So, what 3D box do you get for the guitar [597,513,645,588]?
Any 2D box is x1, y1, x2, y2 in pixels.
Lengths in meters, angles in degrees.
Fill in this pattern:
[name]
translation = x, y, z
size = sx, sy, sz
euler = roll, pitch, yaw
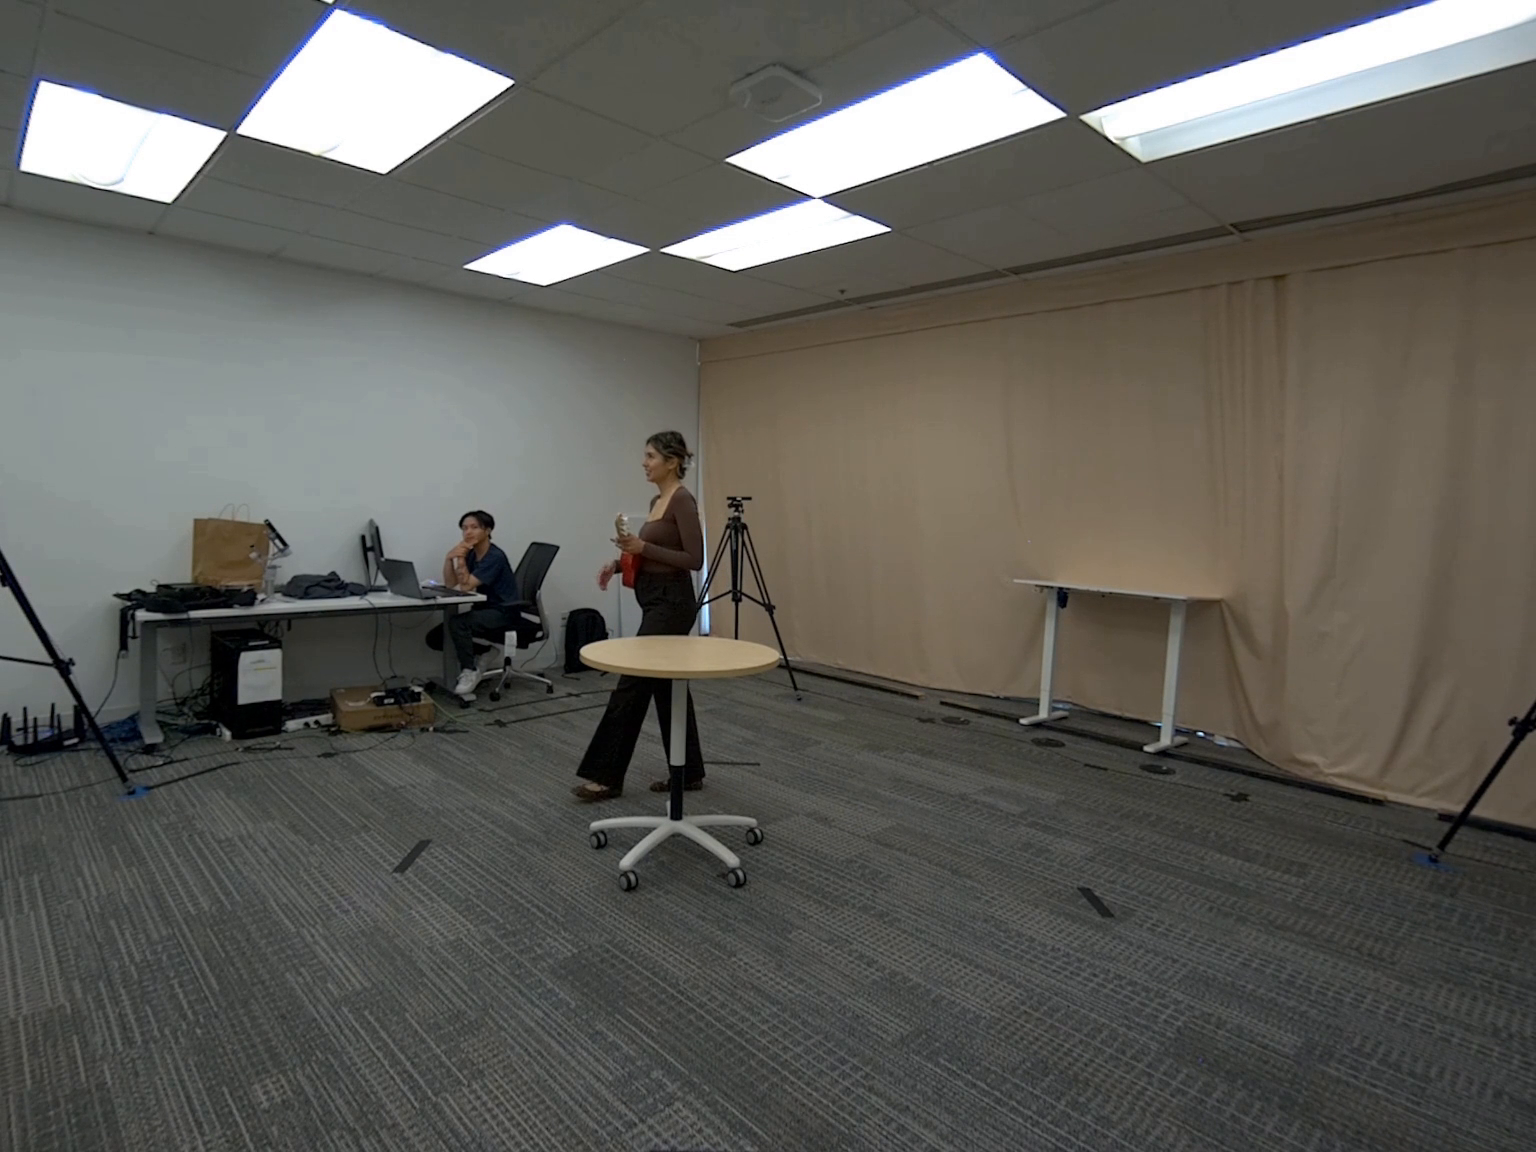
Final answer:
[guitar]
translation = -0.650, -0.102, 3.808
size = 0.071, 0.195, 0.488
euler = 12, -22, 9
